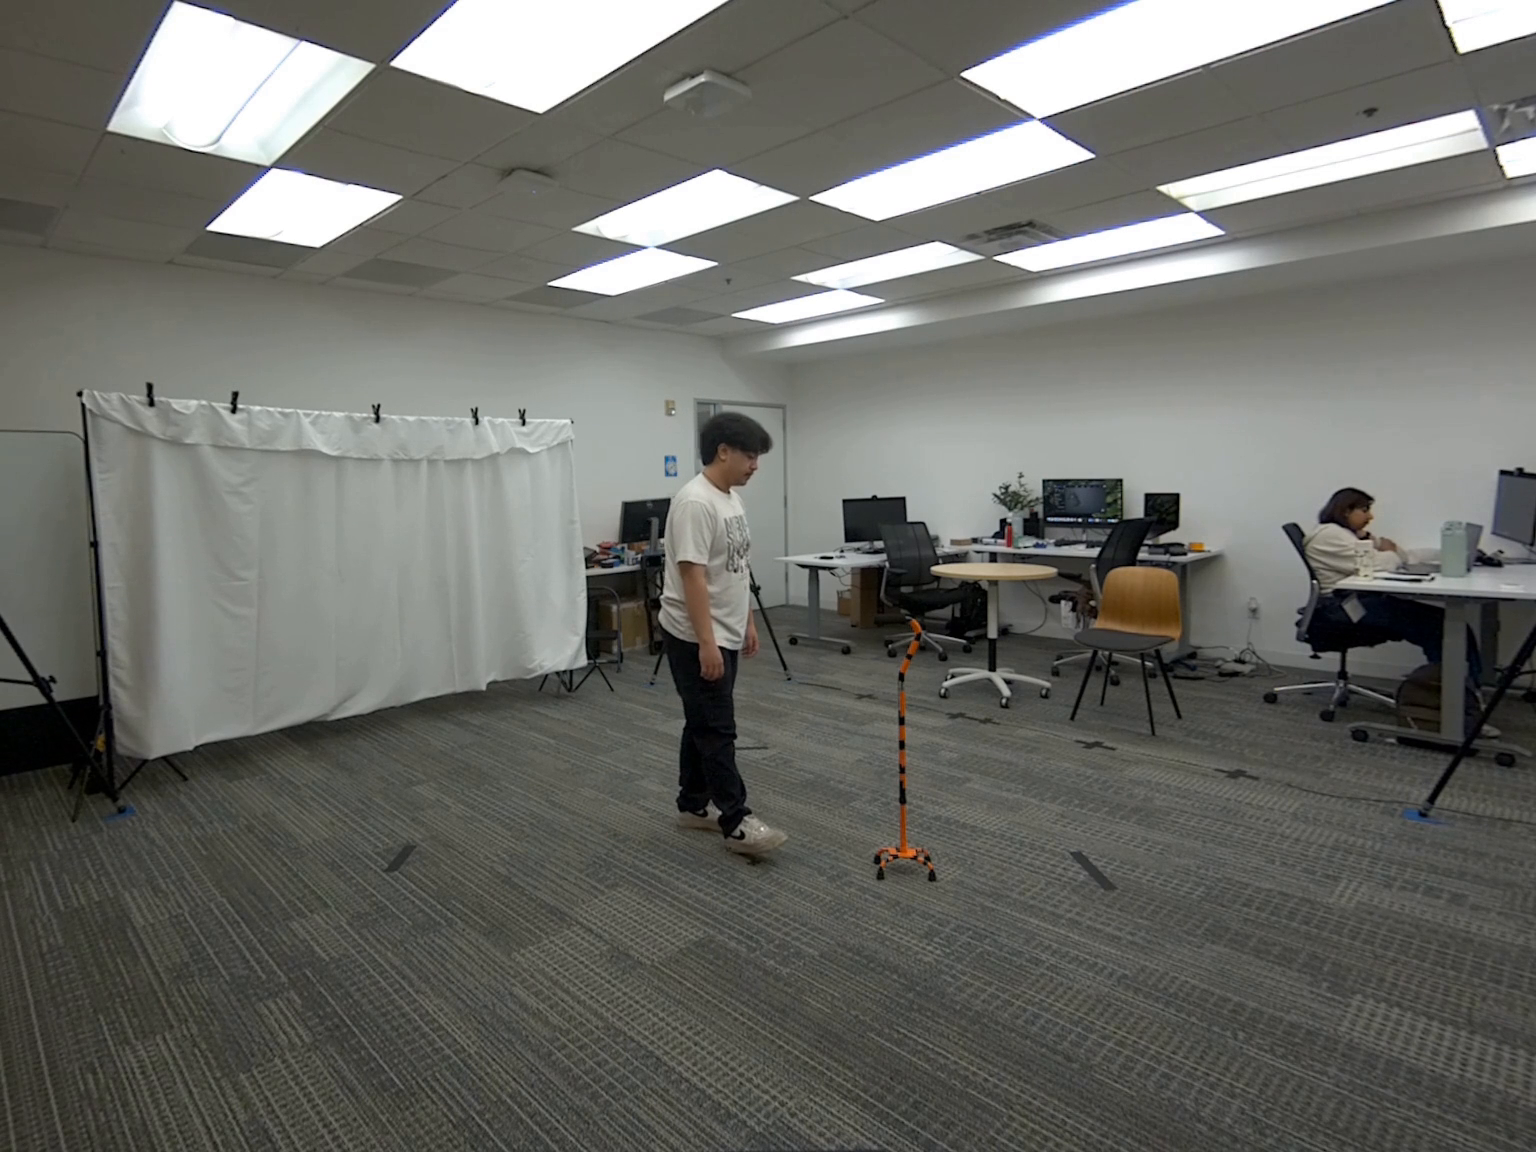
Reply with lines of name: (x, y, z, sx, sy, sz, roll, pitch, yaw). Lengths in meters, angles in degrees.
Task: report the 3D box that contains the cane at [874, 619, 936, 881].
cane: (0.479, 0.596, 2.991, 0.207, 0.905, 0.151, -1, 3, 3)
